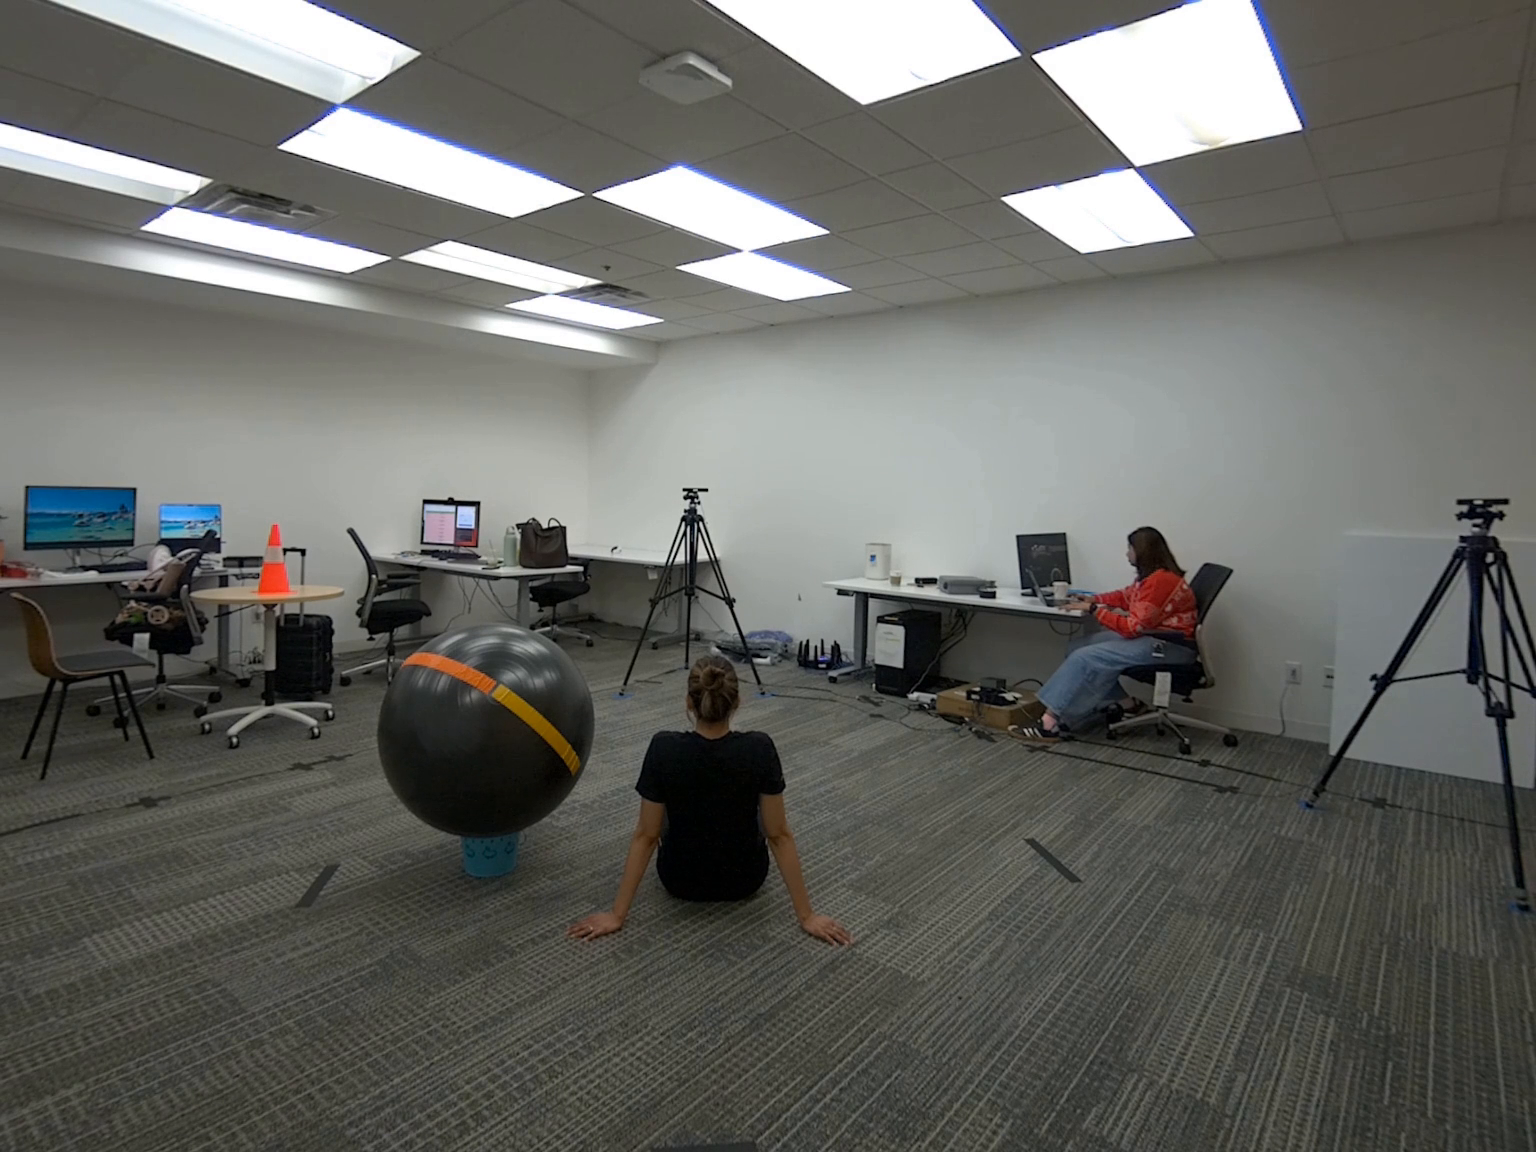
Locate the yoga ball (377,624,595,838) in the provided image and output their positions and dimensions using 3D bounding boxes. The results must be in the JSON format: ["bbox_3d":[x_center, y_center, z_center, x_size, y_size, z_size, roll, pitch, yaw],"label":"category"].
[{"bbox_3d":[-1.023,0.552,3.078,0.757,0.756,0.762,1,4,-2],"label":"yoga ball"}]
